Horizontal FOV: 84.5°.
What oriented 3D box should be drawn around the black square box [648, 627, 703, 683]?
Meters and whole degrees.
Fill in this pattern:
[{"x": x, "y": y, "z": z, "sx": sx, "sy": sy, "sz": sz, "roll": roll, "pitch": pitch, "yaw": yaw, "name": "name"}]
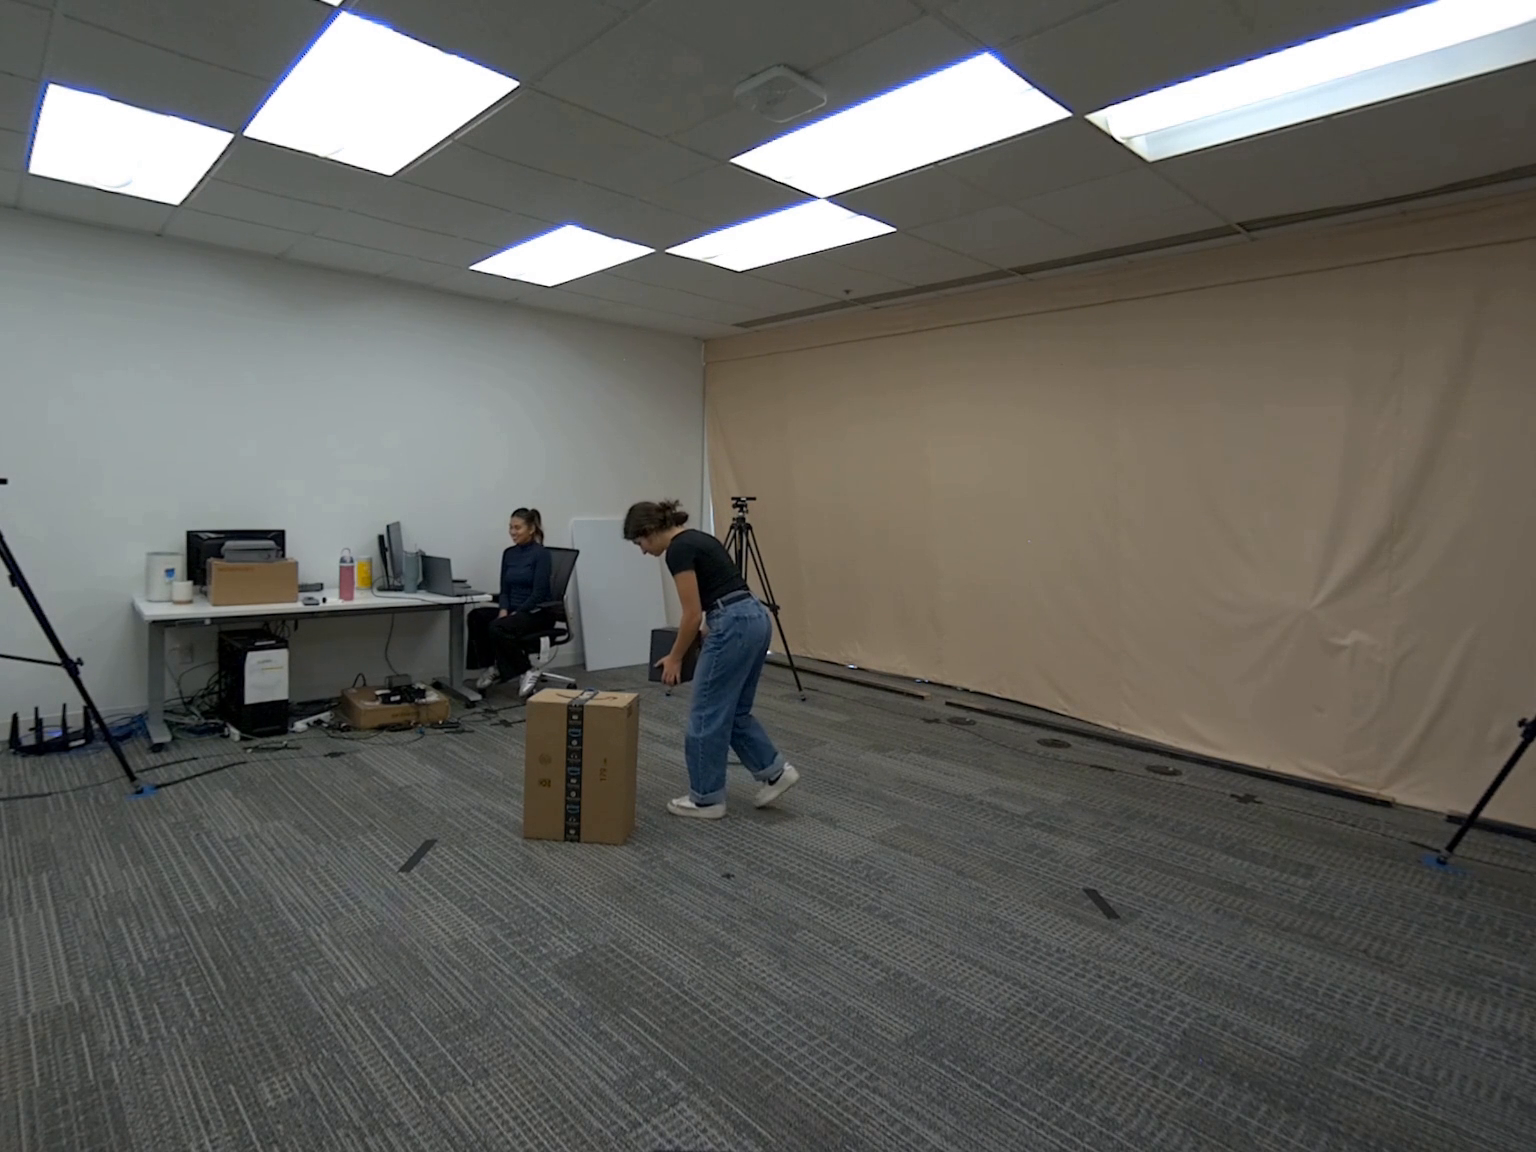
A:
[{"x": -0.431, "y": 0.350, "z": 3.813, "sx": 0.158, "sy": 0.228, "sz": 0.214, "roll": 3, "pitch": 0, "yaw": 13, "name": "black square box"}]
